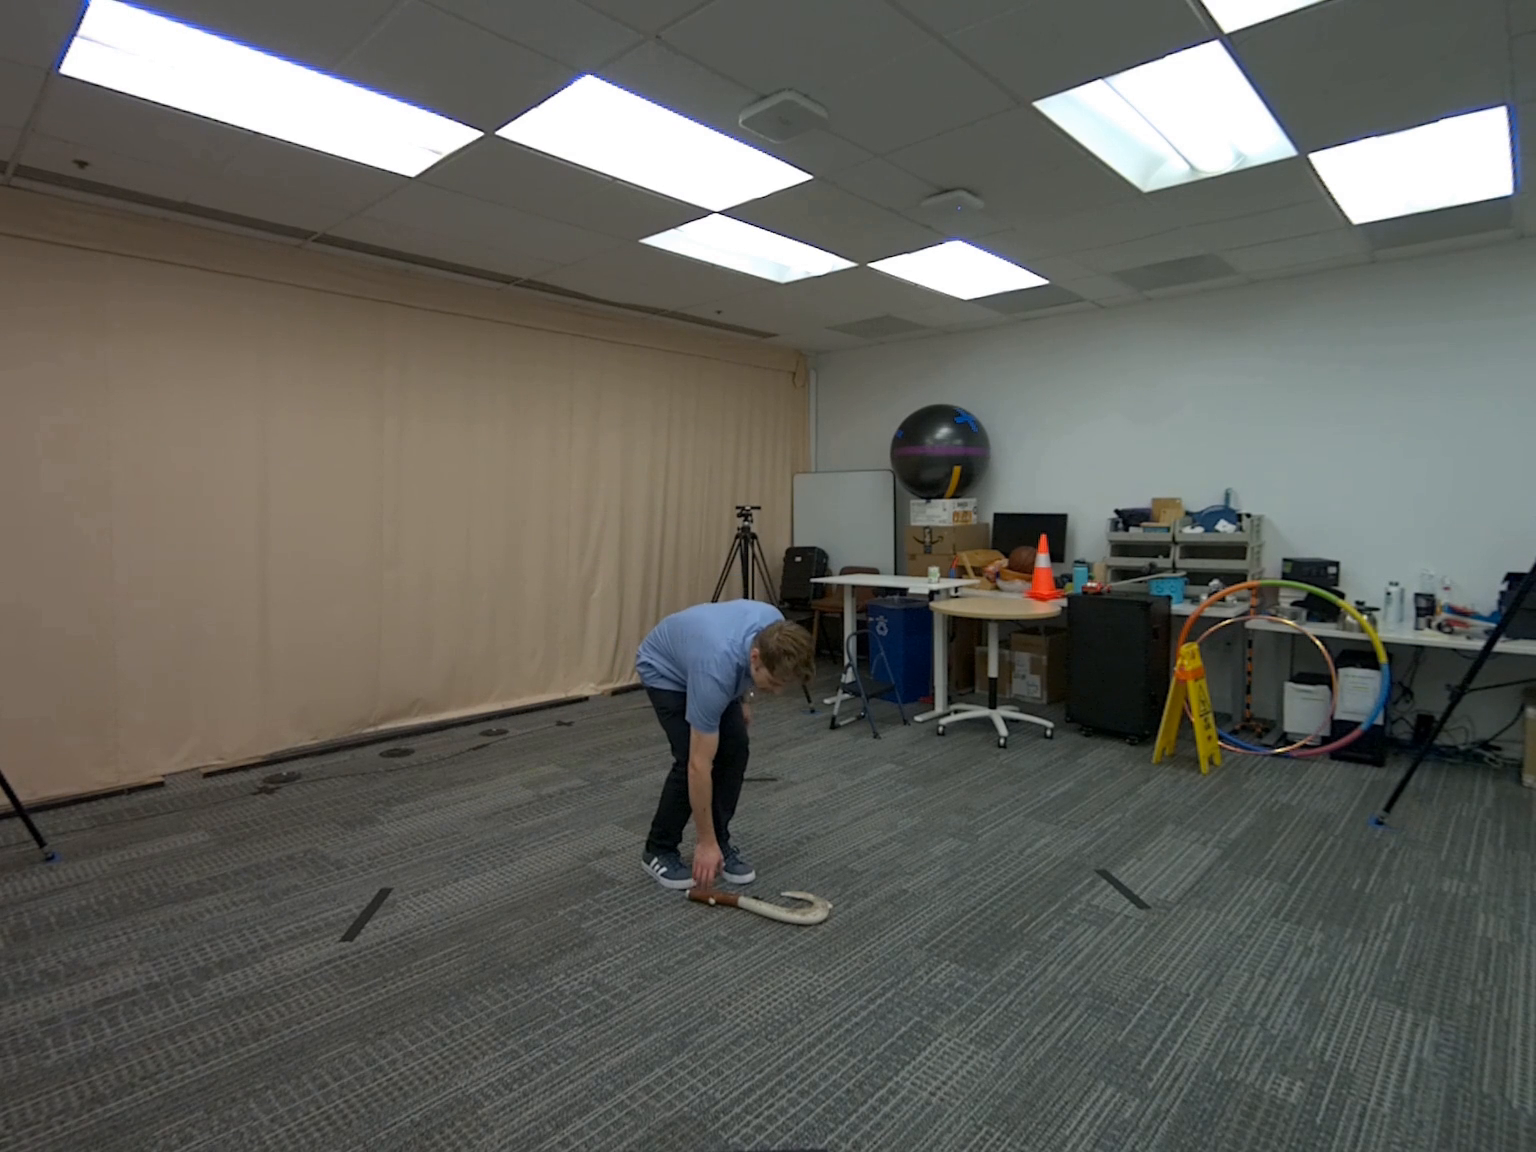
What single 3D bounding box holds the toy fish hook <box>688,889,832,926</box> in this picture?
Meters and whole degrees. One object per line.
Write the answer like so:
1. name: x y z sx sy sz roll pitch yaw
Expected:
1. toy fish hook: -0.034 1.133 2.941 0.518 0.048 0.219 3 -3 20
